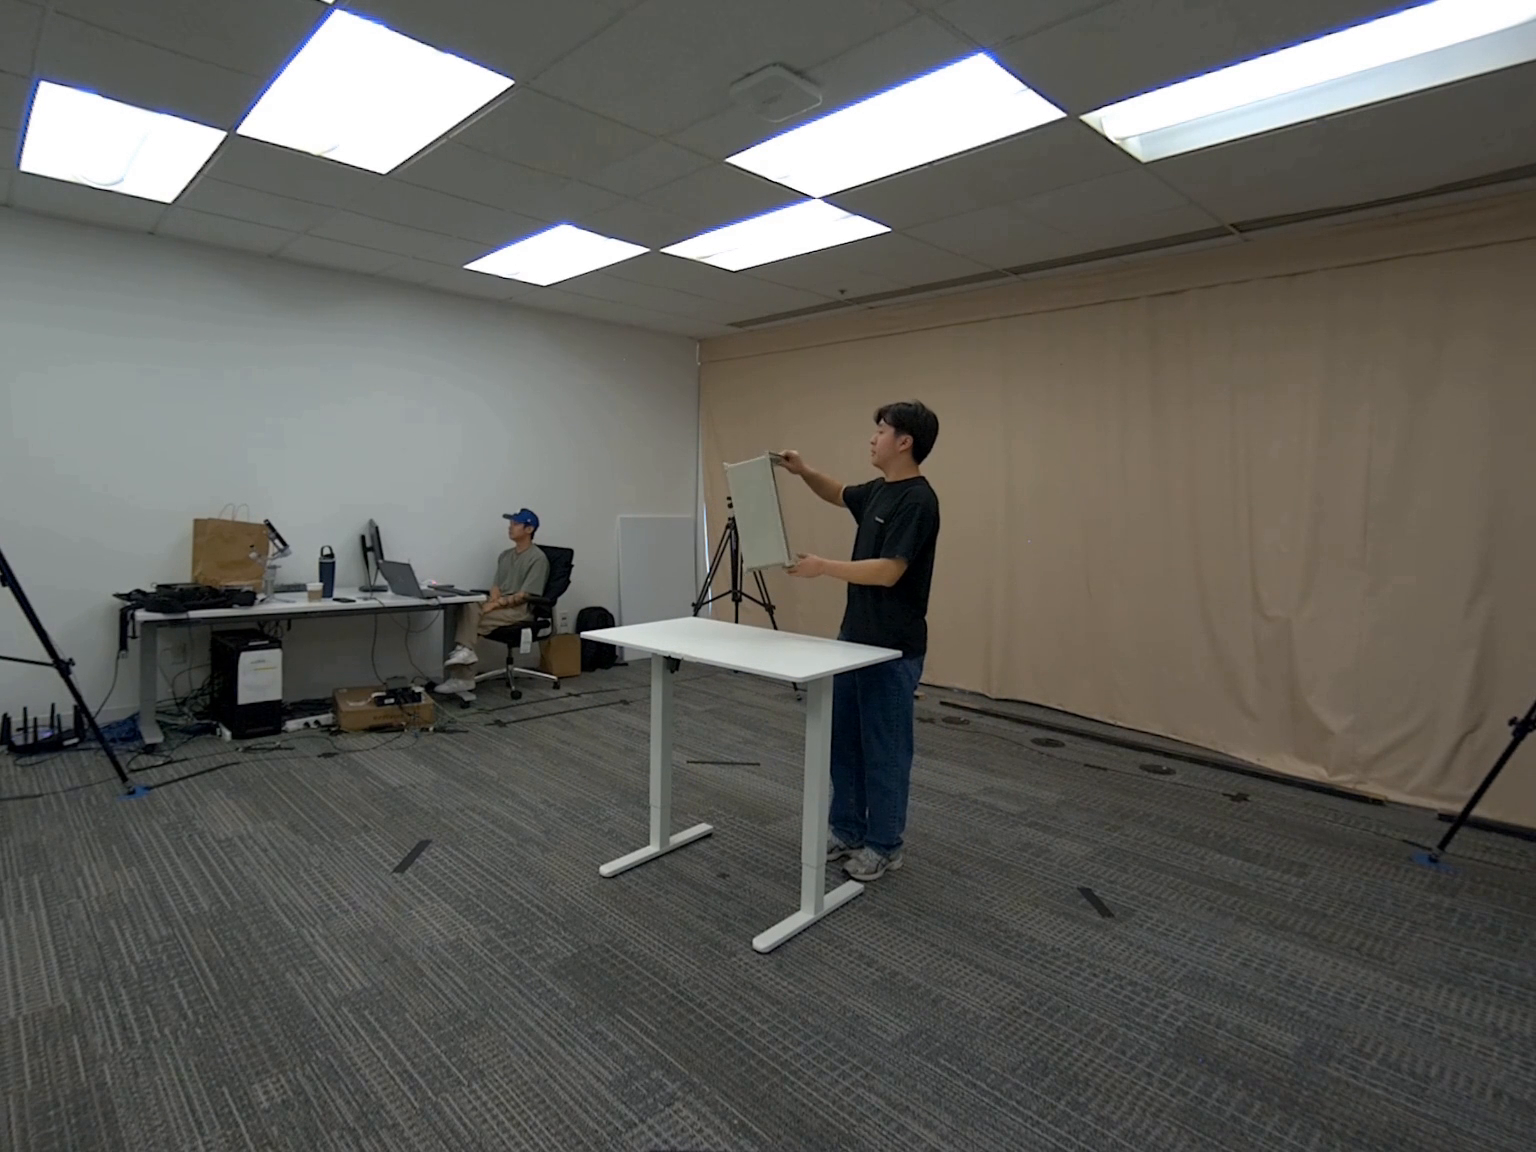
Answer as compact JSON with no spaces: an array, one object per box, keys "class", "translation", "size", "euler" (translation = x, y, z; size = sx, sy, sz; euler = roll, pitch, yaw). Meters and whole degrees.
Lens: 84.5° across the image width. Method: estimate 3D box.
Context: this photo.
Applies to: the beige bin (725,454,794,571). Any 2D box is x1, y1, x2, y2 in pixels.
[{"class":"beige bin","translation":[0.002,-0.240,3.224],"size":[0.191,0.422,0.373],"euler":[-10,1,18]}]
